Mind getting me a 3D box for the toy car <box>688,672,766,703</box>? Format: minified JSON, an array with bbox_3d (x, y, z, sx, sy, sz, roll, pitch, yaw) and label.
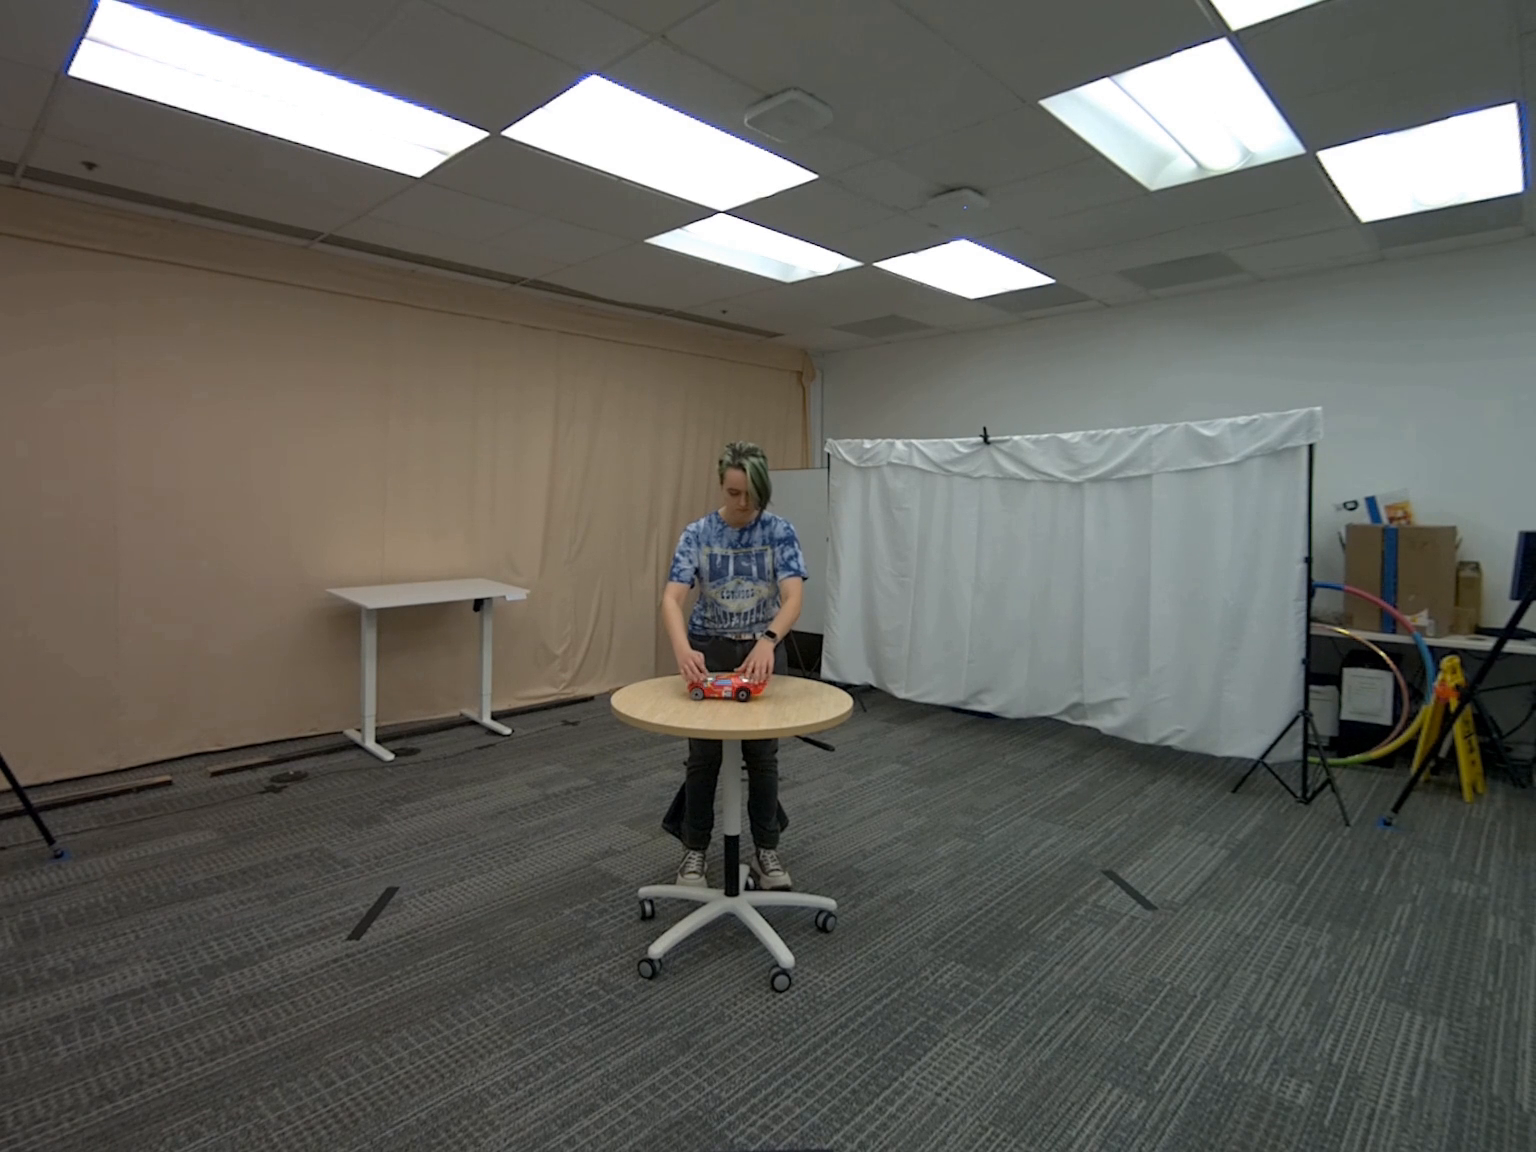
[{"bbox_3d":[-0.119,0.355,2.672,0.257,0.083,0.129,-10,5,9],"label":"toy car"}]
